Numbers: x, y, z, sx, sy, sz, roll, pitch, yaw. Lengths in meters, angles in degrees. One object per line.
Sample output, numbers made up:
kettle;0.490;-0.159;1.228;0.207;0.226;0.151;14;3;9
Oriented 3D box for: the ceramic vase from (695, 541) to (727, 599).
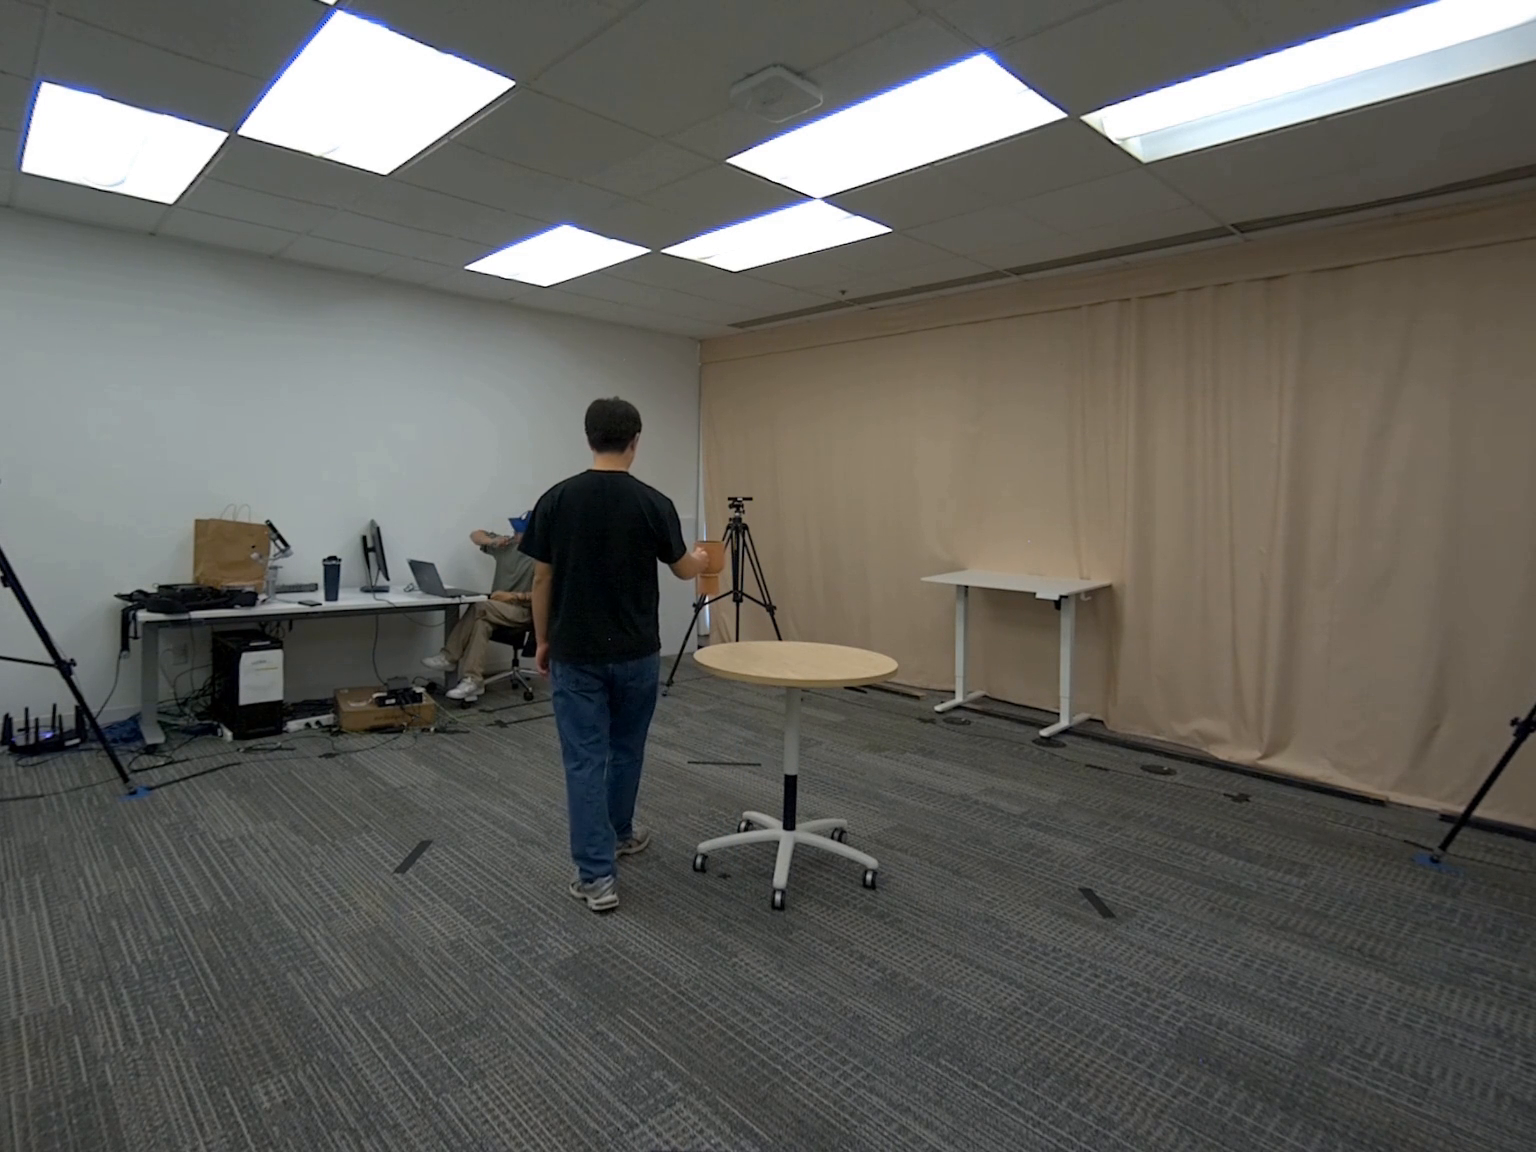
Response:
ceramic vase;-0.259;-0.037;3.570;0.156;0.219;0.137;1;4;-20
